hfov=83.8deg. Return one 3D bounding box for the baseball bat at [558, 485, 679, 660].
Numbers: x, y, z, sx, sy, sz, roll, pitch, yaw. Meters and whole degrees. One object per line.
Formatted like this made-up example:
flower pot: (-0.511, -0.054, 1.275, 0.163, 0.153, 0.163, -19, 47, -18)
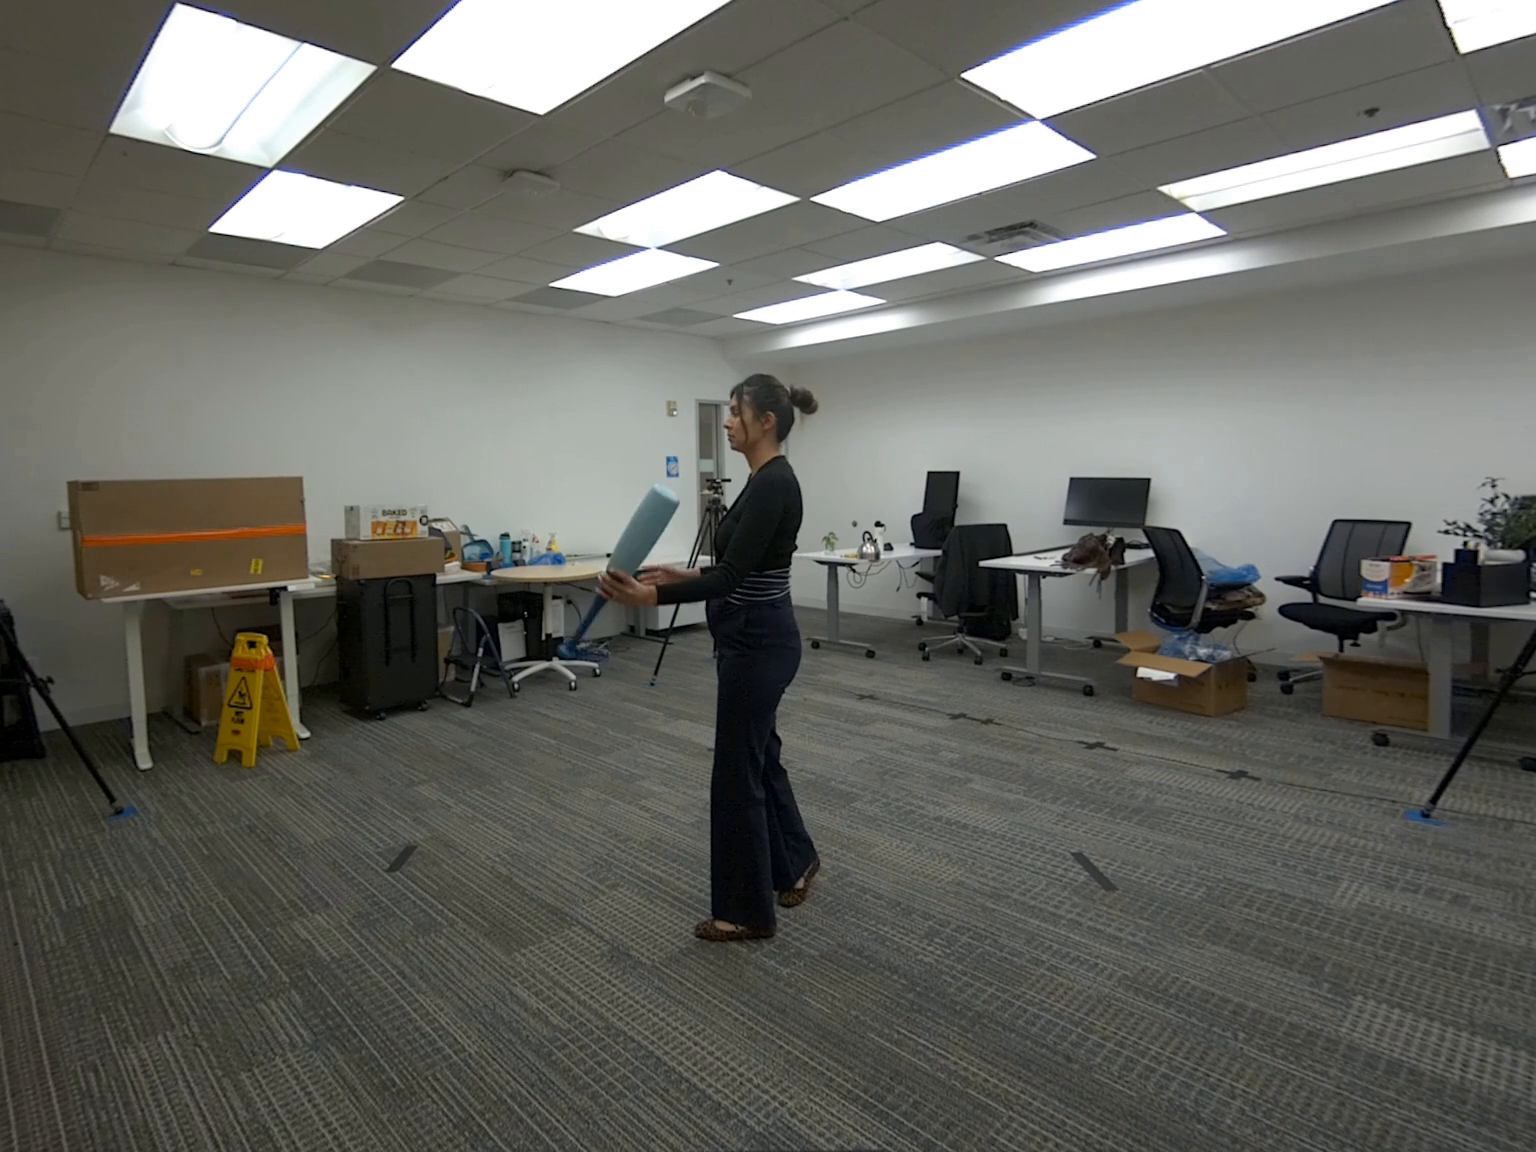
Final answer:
baseball bat: (-0.387, 0.003, 2.241, 0.088, 0.541, 0.090, 31, 12, -9)
